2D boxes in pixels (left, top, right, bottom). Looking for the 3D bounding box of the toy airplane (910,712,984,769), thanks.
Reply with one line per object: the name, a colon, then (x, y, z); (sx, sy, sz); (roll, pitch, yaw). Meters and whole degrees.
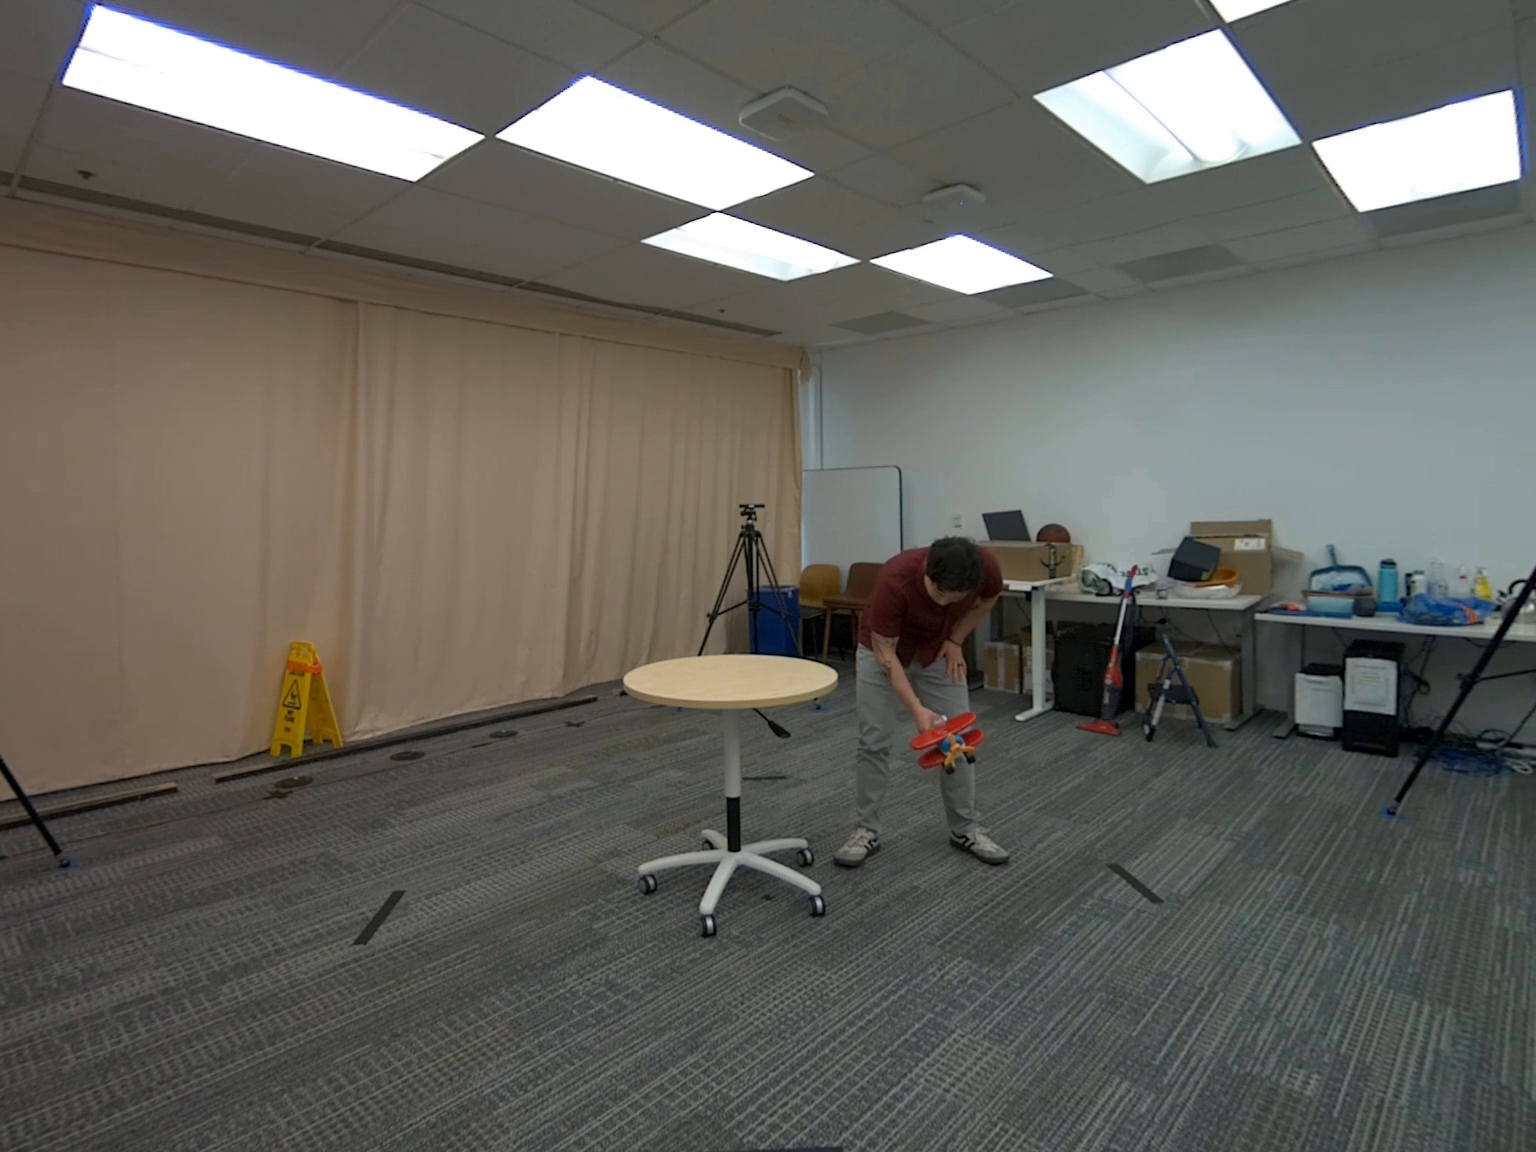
toy airplane: (0.627, 0.598, 3.061); (0.248, 0.152, 0.268); (-41, 33, -28)
